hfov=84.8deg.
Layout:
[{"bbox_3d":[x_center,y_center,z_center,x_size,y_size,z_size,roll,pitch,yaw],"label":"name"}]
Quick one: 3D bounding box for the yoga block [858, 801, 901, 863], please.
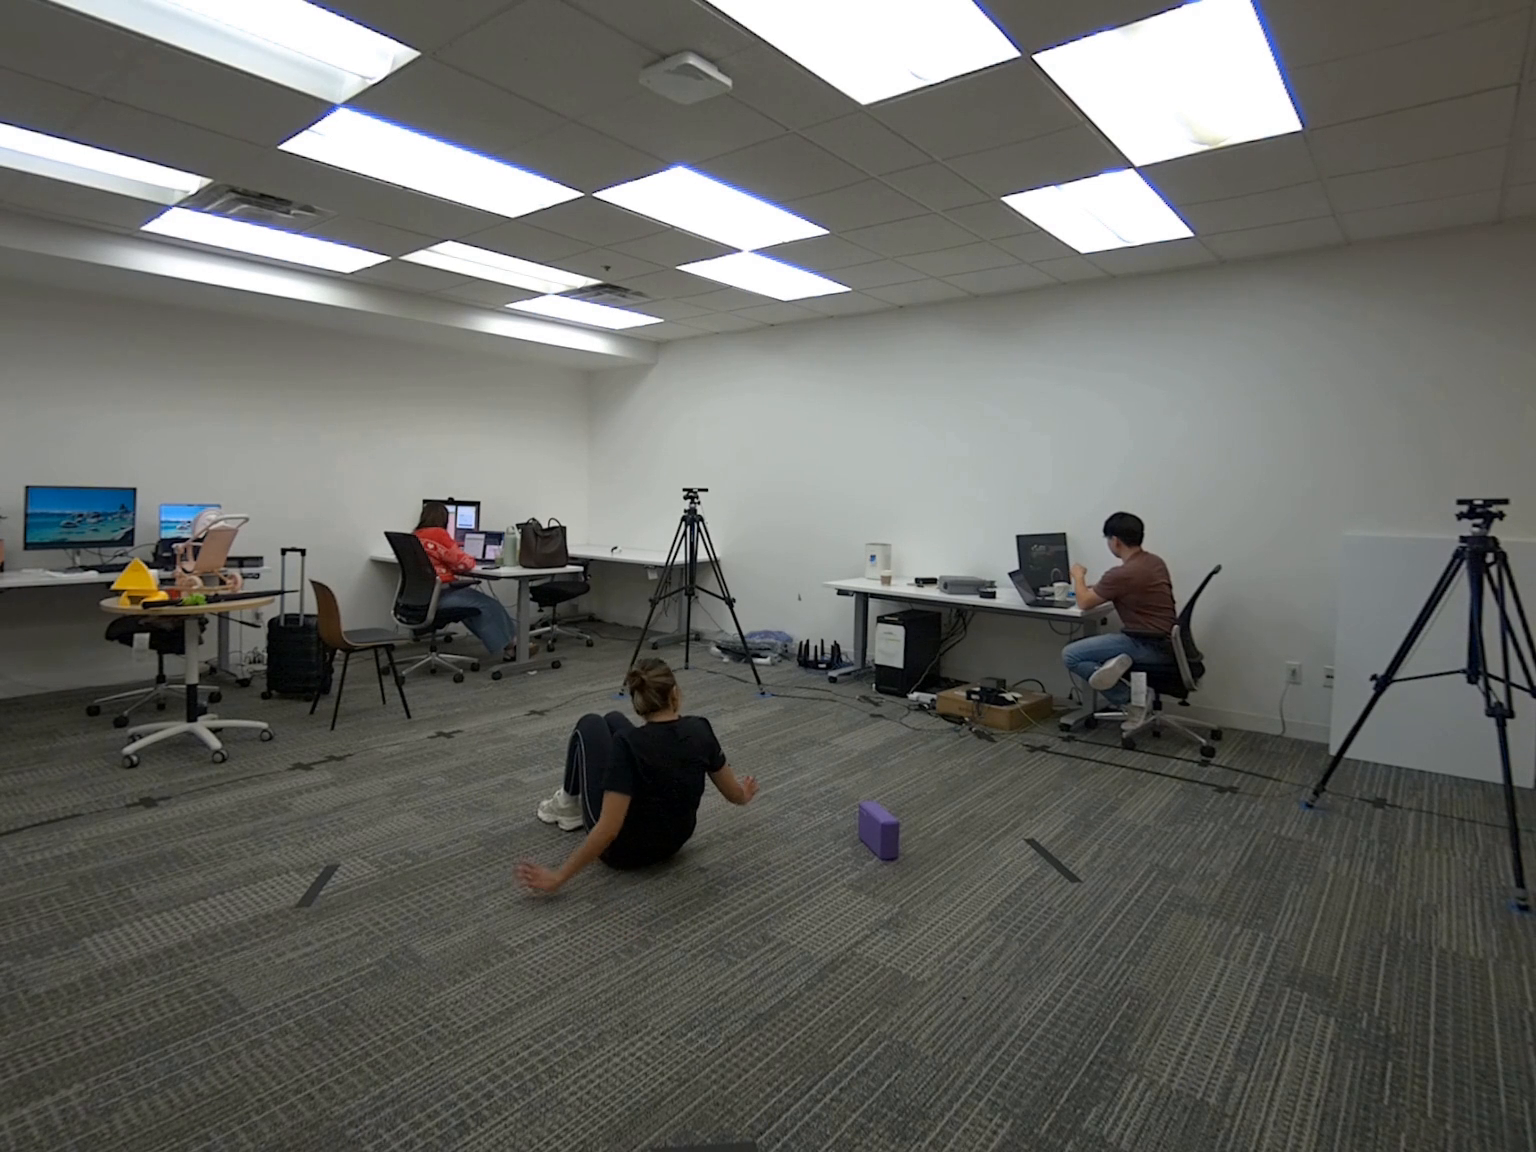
[{"bbox_3d":[0.426,0.993,3.320,0.075,0.148,0.234,2,4,-17],"label":"yoga block"}]
